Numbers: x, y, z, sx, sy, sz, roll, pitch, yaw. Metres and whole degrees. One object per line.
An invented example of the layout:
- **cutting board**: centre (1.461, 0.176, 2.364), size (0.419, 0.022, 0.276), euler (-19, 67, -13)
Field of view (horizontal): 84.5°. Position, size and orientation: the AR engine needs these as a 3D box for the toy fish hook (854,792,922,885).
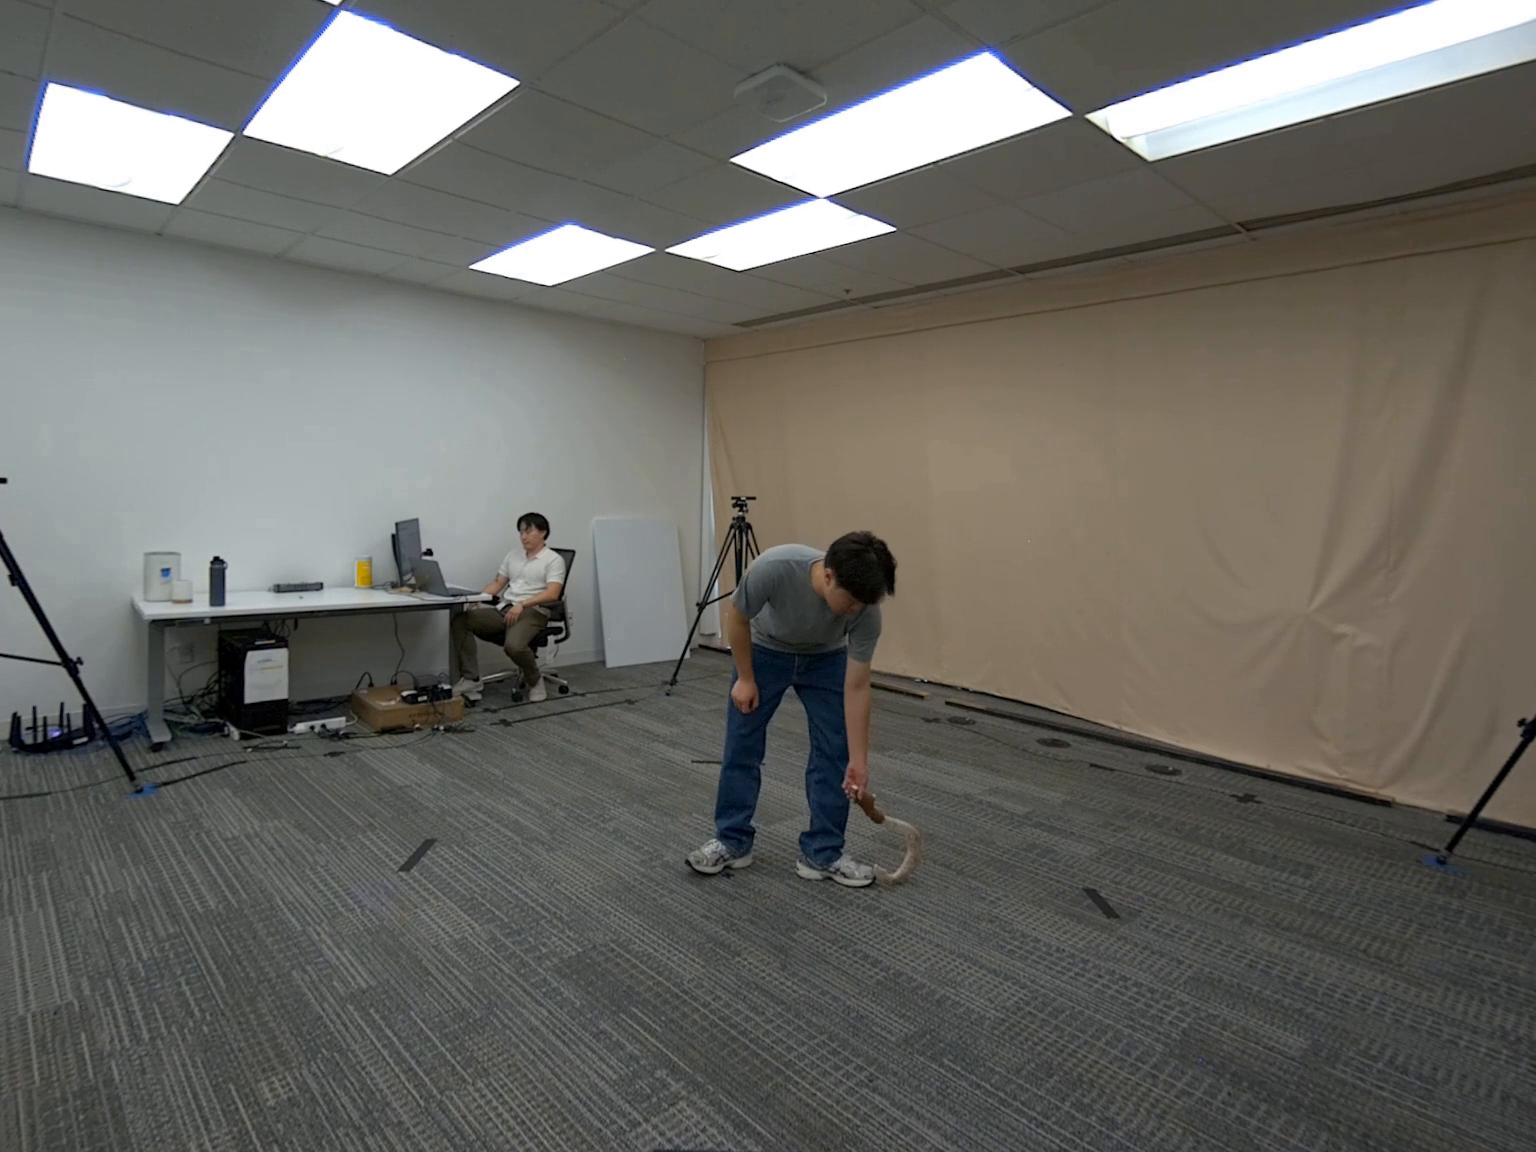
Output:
- **toy fish hook**: centre (0.384, 0.923, 2.984), size (0.049, 0.225, 0.493), euler (6, -36, 53)
